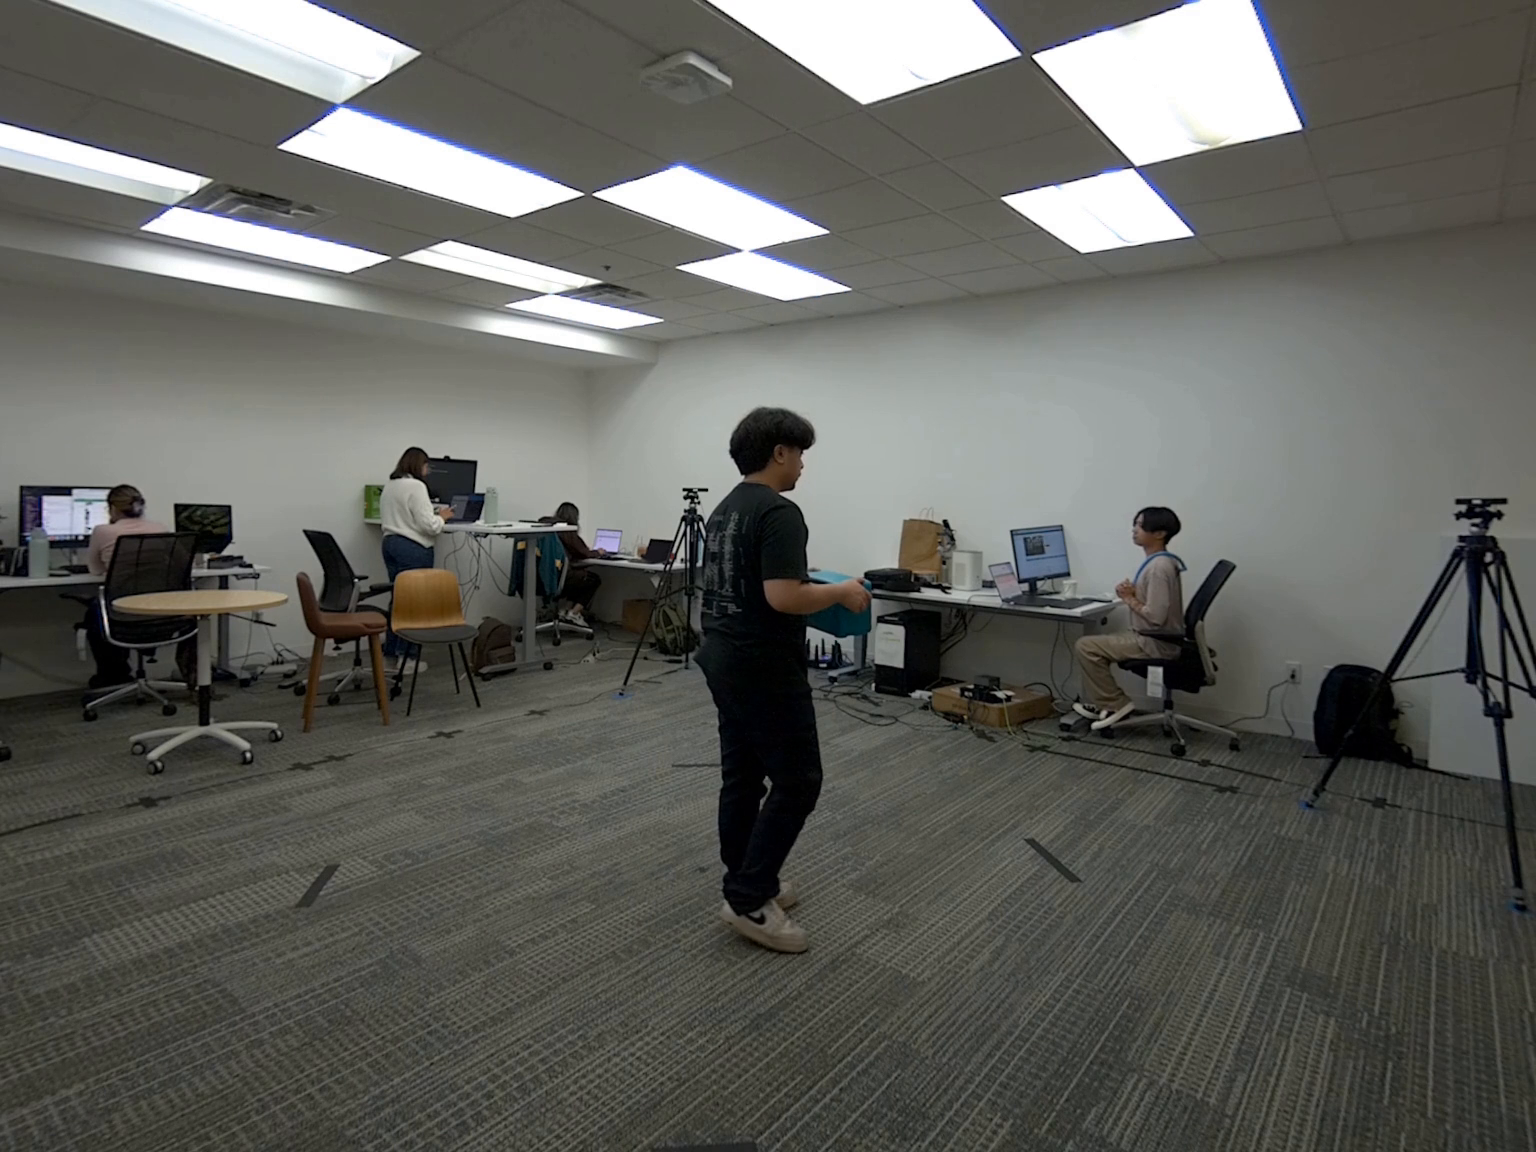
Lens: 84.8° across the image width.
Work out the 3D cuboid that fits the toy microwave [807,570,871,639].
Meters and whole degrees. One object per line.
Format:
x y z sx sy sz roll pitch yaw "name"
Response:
0.213 0.089 2.860 0.149 0.182 0.295 -5 11 -28 "toy microwave"
